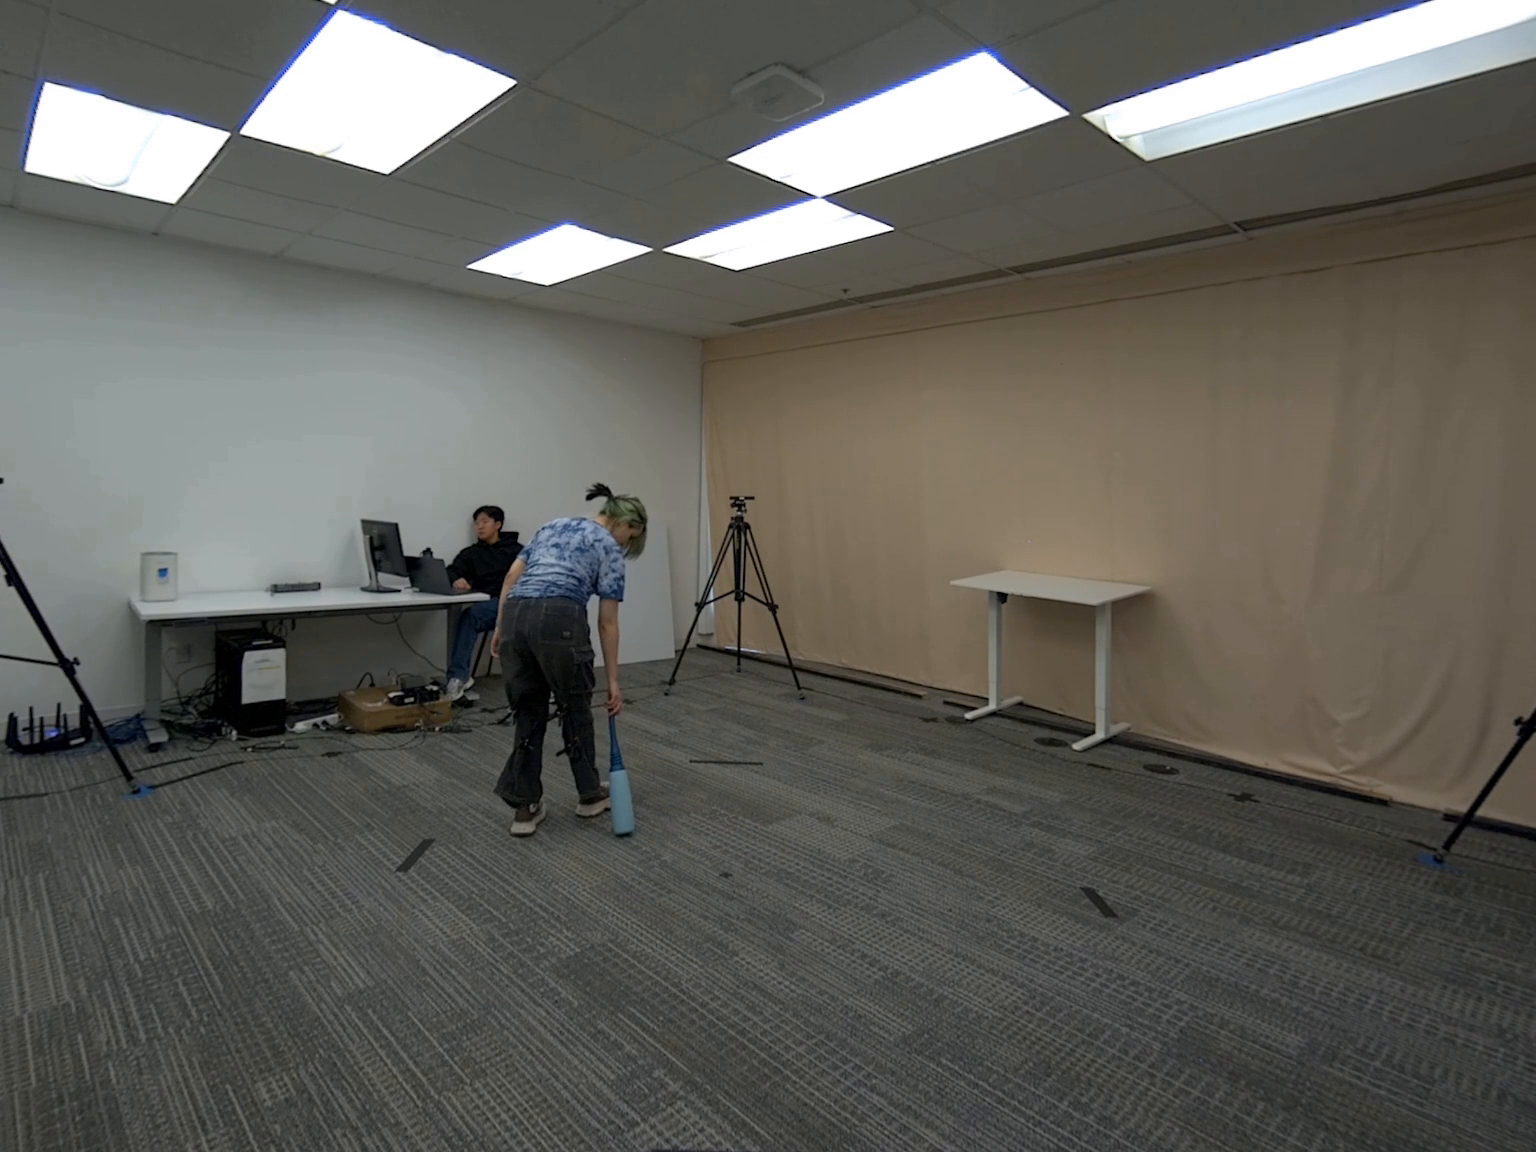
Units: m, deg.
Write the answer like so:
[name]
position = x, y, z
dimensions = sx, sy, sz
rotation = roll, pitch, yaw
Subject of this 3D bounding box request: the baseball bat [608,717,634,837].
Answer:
[baseball bat]
position = -0.644, 0.800, 3.517
dimensions = 0.089, 0.550, 0.088
rotation = -10, -16, -4
